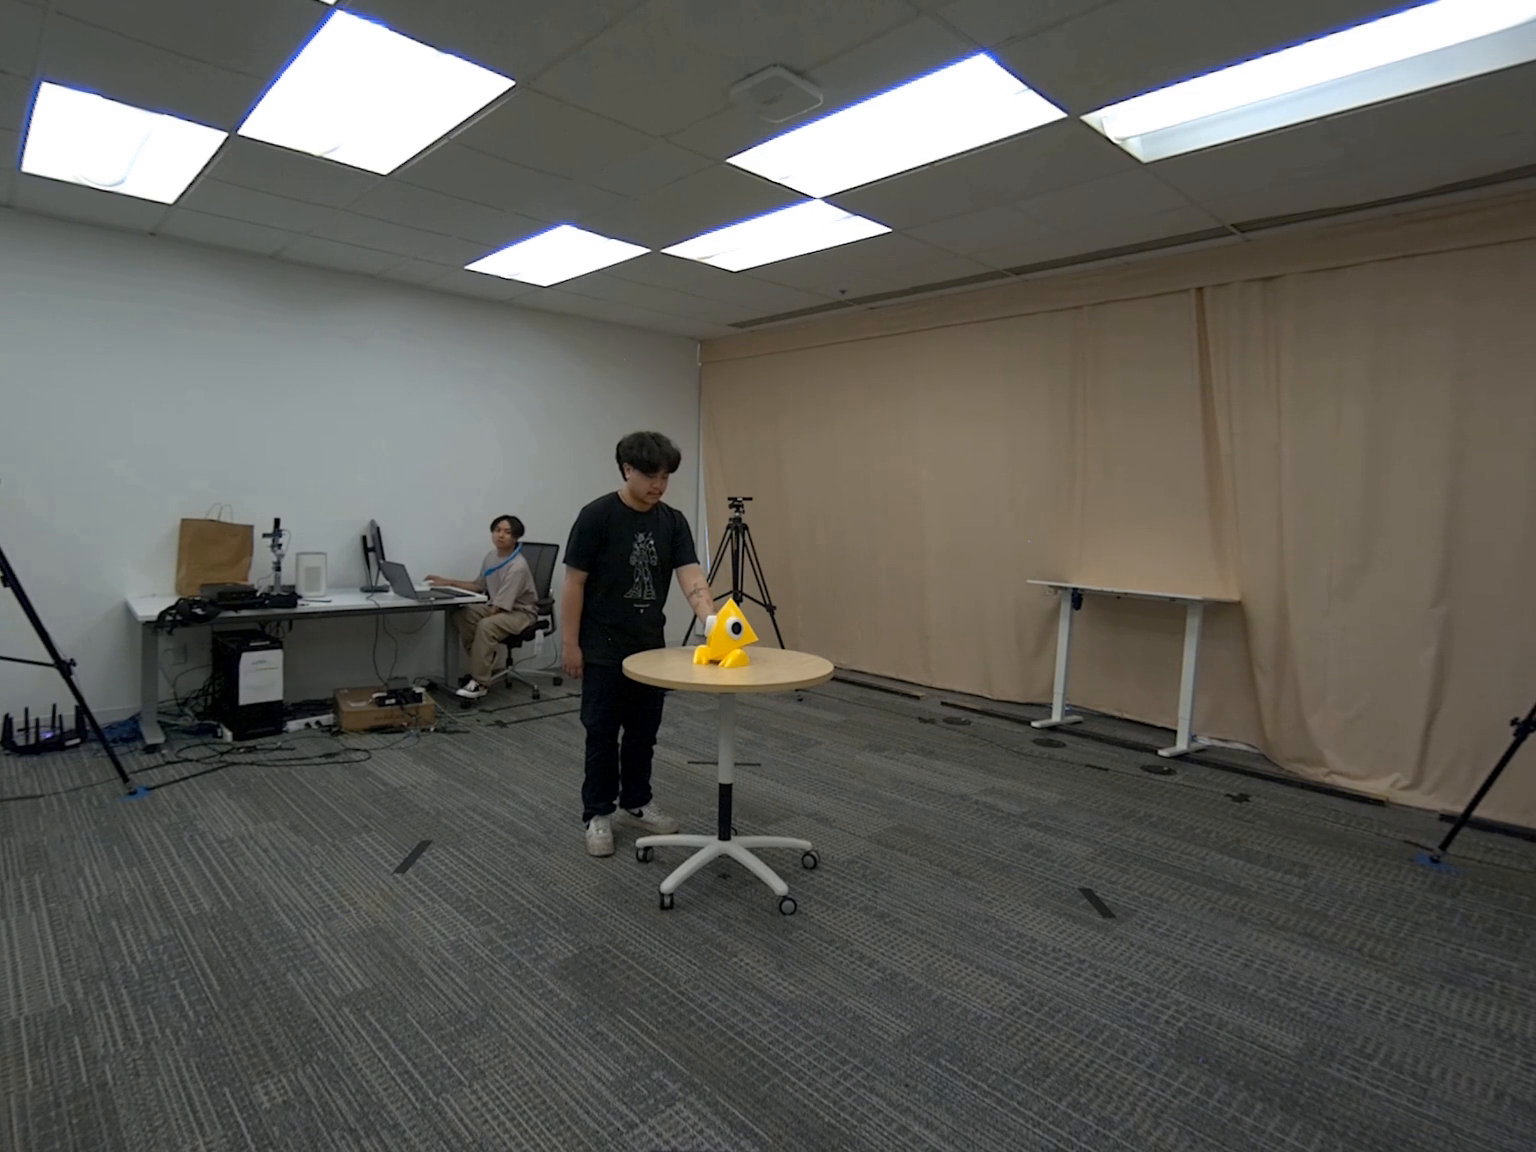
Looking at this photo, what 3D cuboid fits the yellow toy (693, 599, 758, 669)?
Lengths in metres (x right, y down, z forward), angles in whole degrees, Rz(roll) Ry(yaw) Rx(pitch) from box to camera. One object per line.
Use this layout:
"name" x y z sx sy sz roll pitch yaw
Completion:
"yellow toy" -0.175 0.204 3.071 0.209 0.230 0.190 4 5 27
